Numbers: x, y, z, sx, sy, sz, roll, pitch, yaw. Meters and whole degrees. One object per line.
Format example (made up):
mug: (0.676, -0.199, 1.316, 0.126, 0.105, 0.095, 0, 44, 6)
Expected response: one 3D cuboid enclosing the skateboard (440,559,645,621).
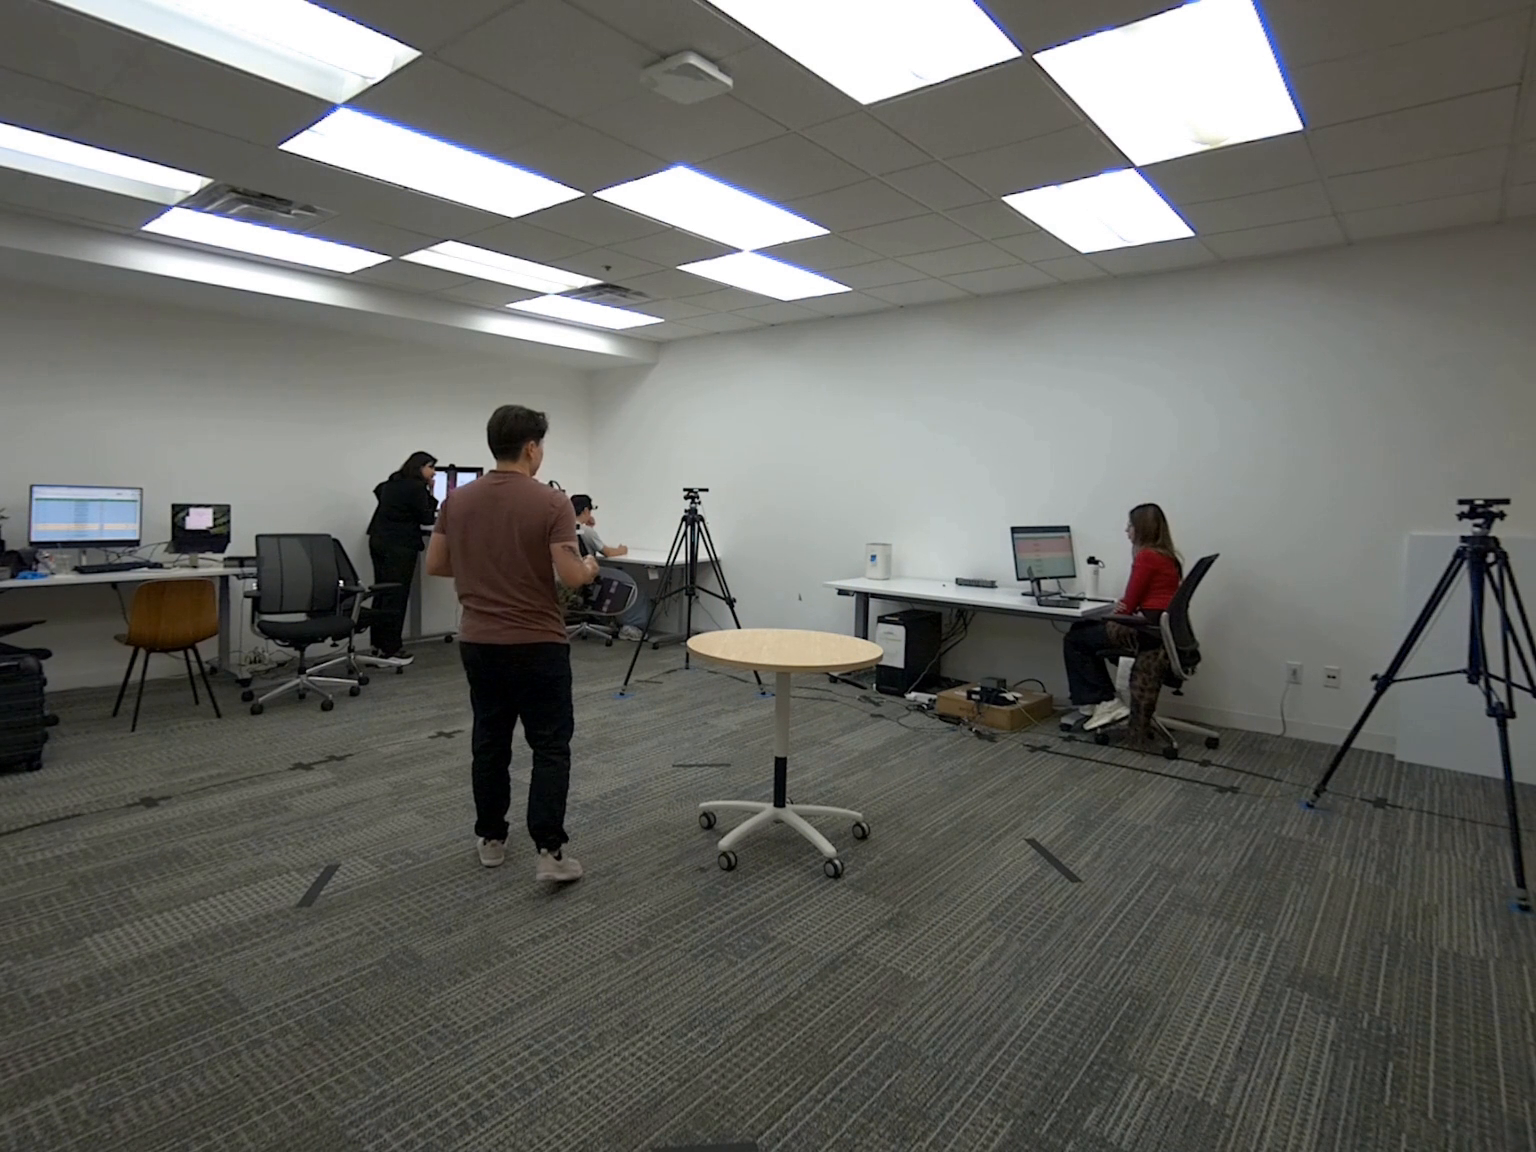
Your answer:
skateboard: (-0.888, 0.028, 3.293, 0.800, 0.196, 0.107, 4, -22, 16)
